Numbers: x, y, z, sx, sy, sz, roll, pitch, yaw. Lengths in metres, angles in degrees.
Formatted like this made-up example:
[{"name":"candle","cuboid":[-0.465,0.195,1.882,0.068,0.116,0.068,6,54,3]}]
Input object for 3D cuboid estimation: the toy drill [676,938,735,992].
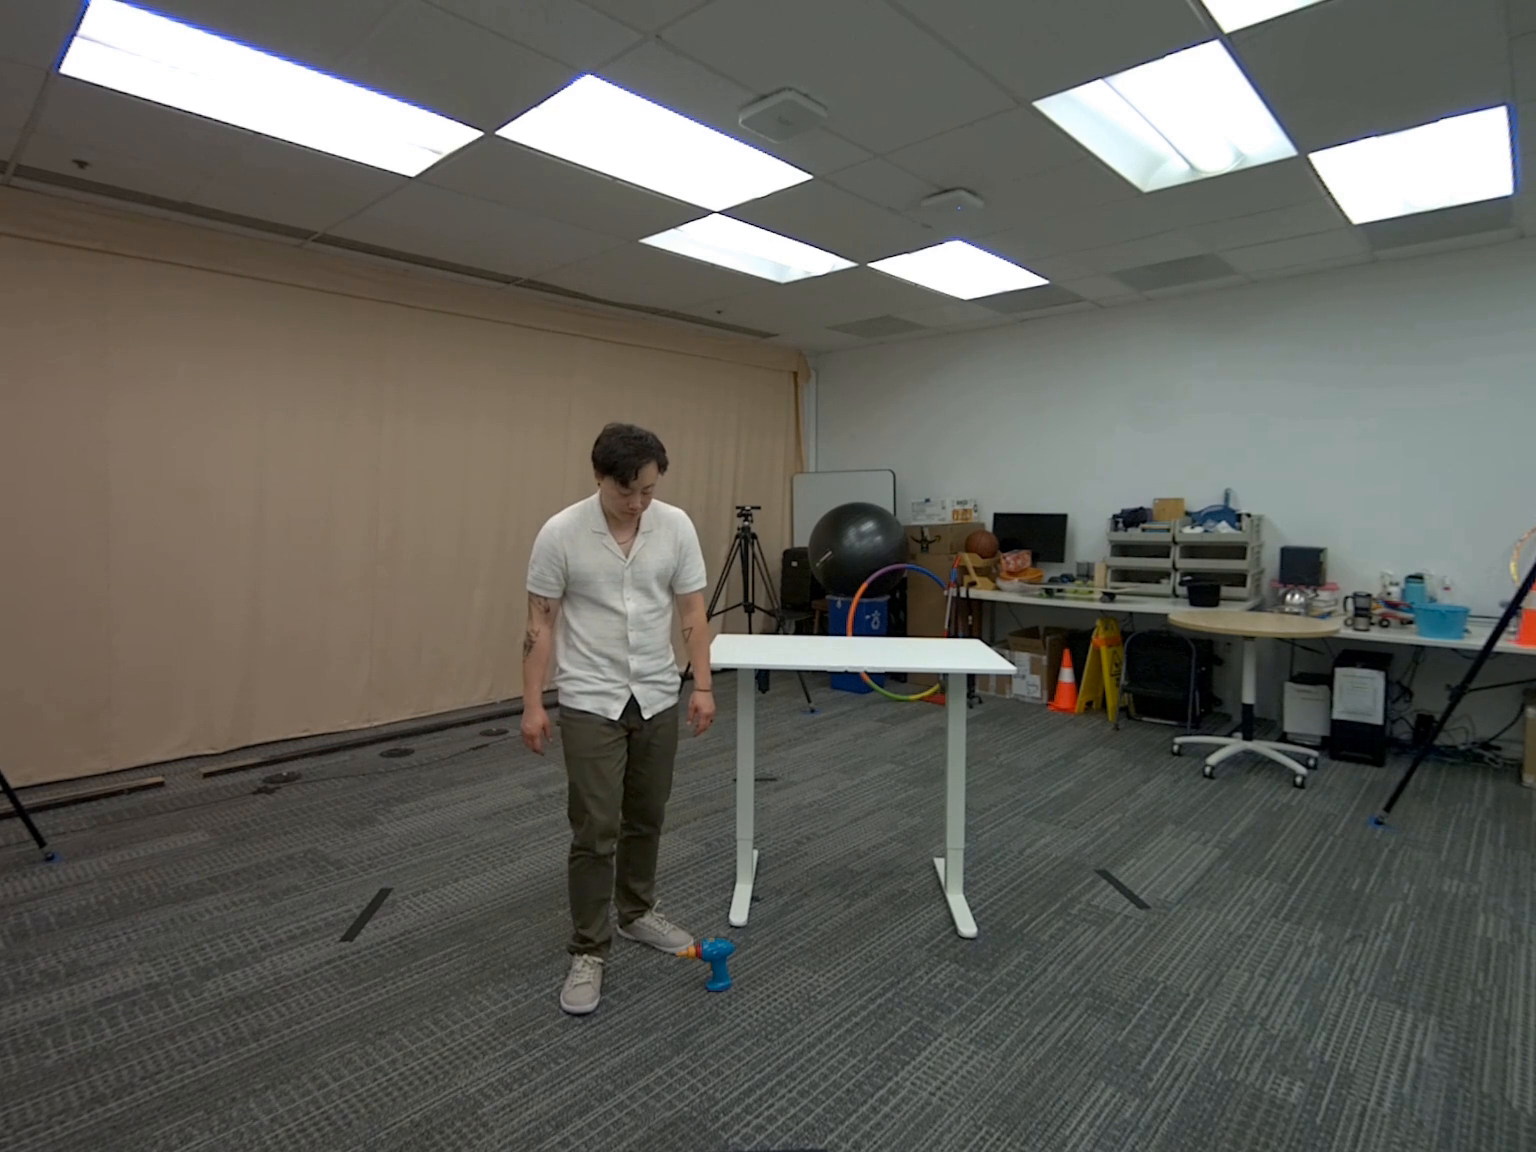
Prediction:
[{"name":"toy drill","cuboid":[-0.180,1.125,2.415,0.168,0.146,0.061,-1,-2,-9]}]
